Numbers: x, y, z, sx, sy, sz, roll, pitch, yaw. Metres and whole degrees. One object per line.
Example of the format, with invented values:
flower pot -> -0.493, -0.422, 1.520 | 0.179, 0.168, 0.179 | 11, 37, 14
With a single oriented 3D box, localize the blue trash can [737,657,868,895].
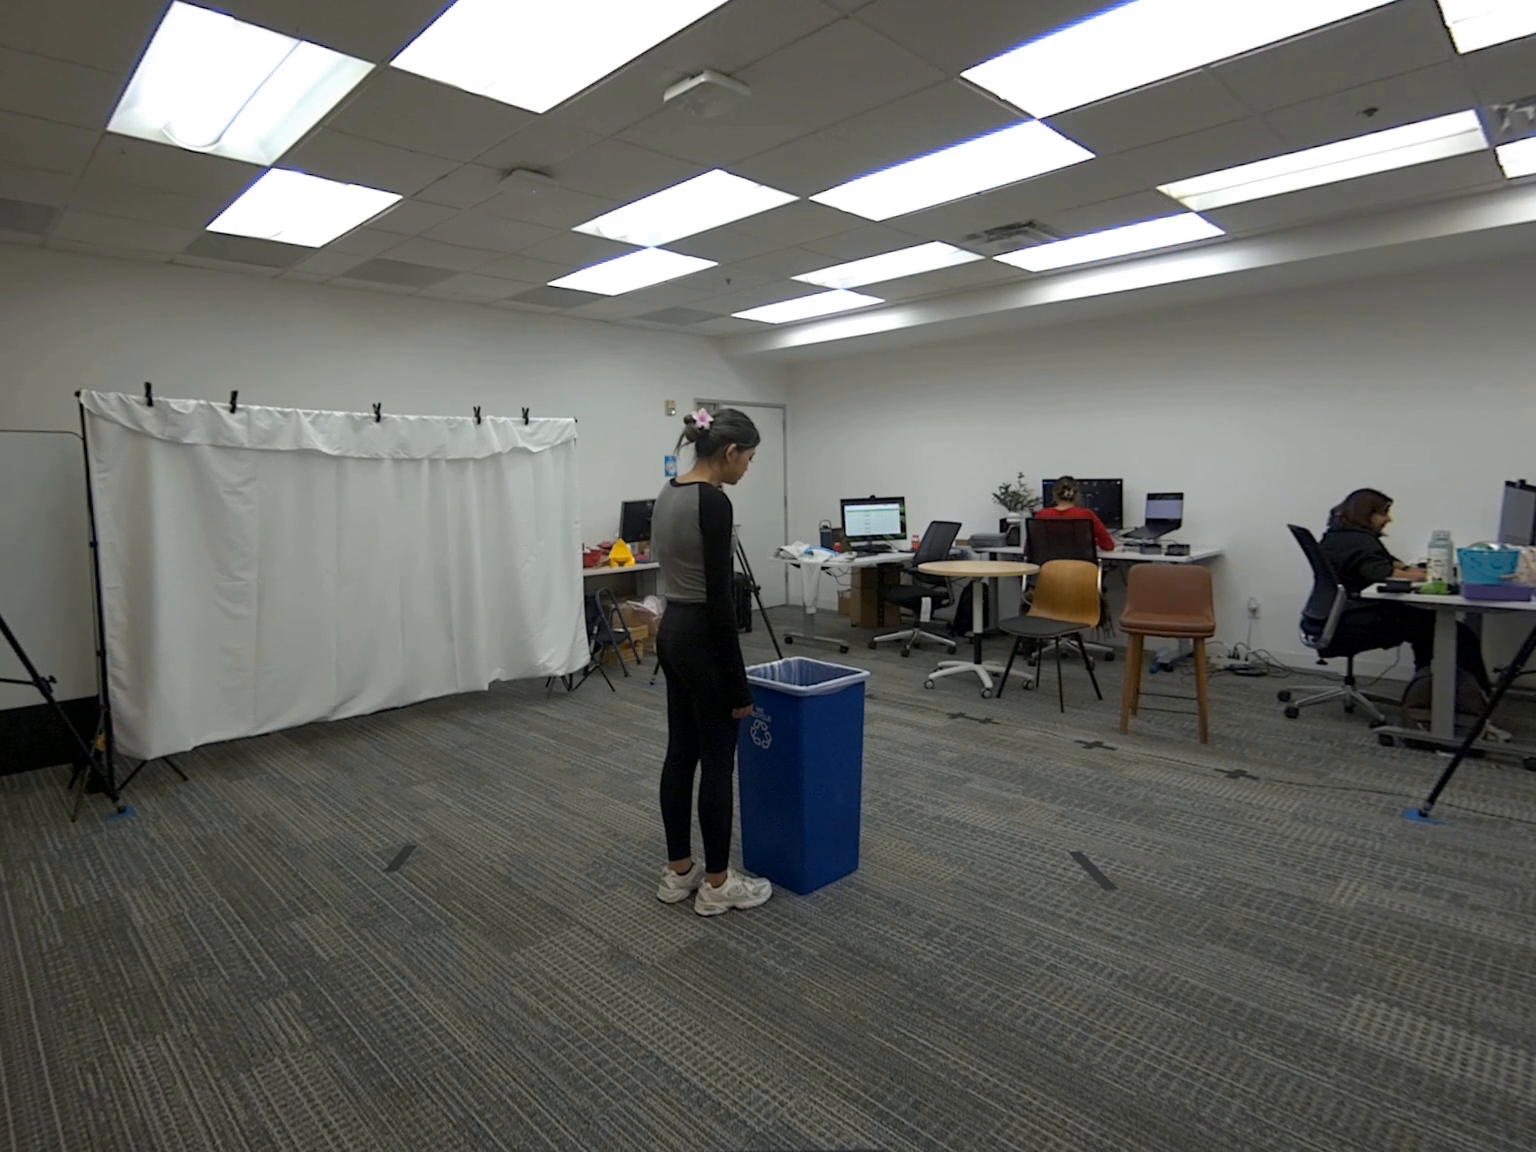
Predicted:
blue trash can -> 0.126, 0.691, 3.033 | 0.368, 0.711, 0.385 | -5, 6, -43
